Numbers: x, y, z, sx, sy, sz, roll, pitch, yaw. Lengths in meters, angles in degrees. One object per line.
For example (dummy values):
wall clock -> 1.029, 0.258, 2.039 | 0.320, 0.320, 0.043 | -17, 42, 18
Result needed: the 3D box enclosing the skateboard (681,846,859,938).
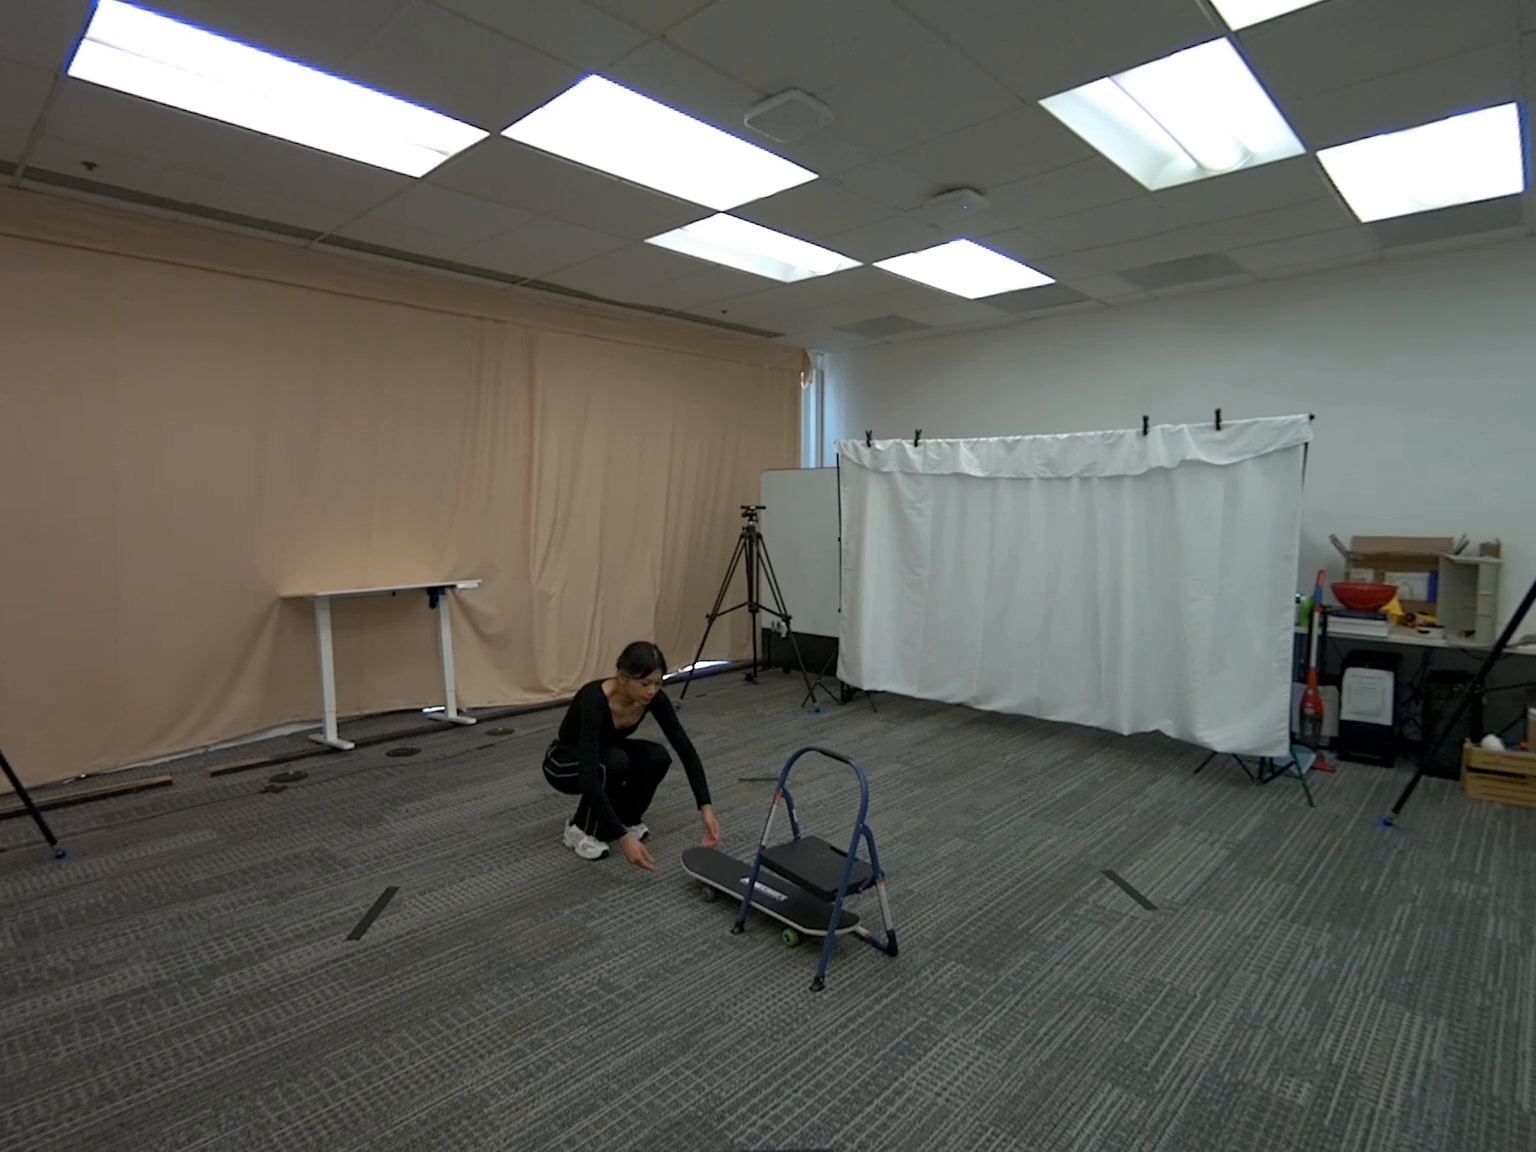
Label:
skateboard -> -0.010, 1.094, 2.863 | 0.187, 0.110, 0.812 | -2, 5, -43
